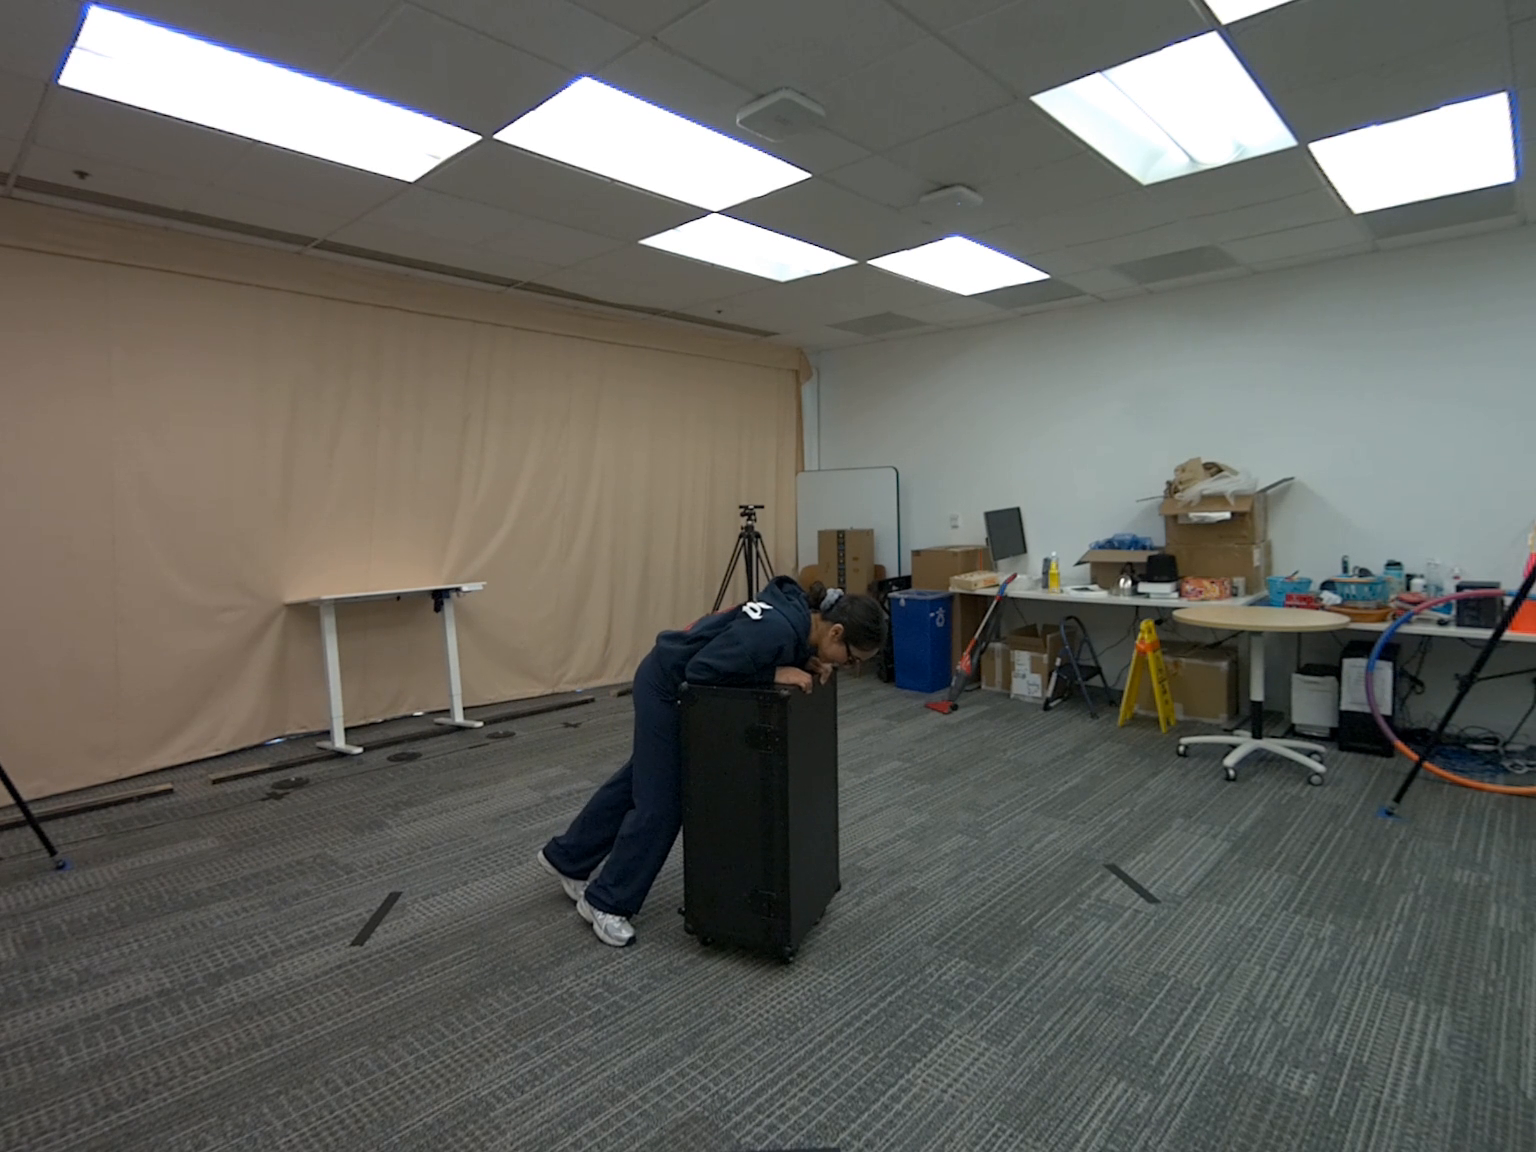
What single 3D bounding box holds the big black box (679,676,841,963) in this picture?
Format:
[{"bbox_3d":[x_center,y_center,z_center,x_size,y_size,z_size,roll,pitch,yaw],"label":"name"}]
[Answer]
[{"bbox_3d":[-0.020,0.744,2.731,0.406,0.860,0.510,-1,3,24],"label":"big black box"}]
